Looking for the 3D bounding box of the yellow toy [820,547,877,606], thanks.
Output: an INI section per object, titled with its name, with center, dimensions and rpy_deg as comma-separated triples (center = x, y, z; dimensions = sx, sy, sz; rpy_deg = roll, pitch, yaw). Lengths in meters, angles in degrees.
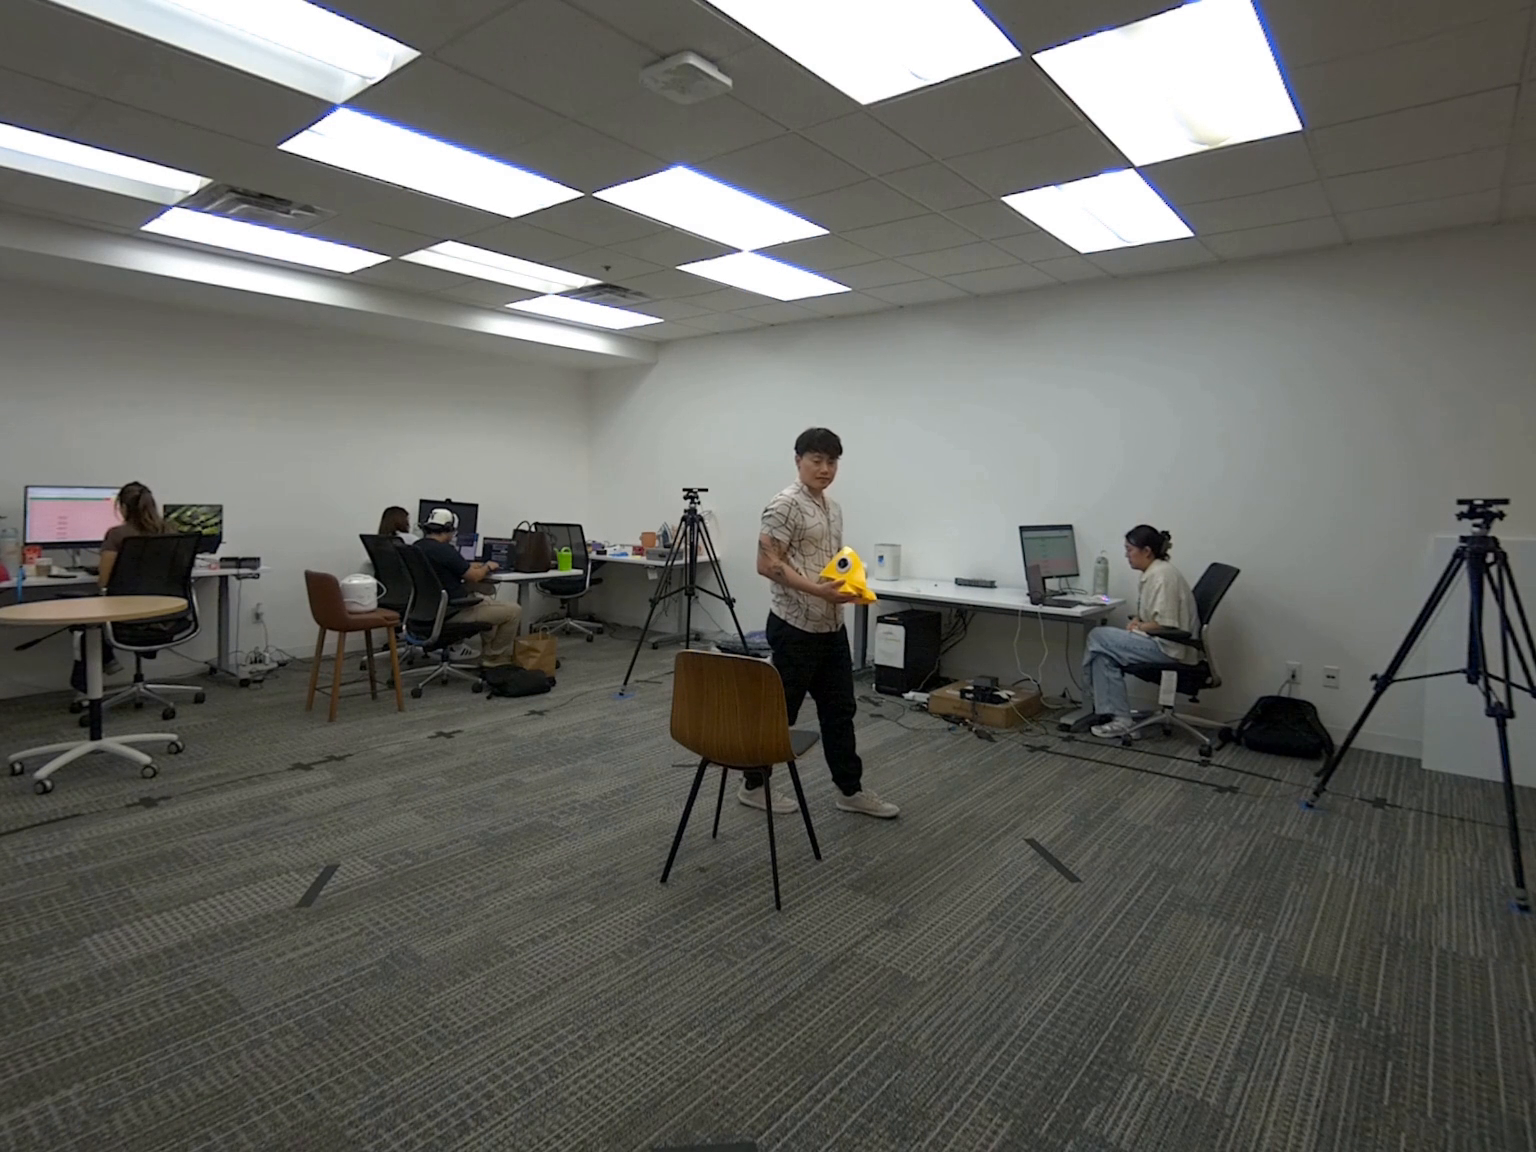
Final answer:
[yellow toy]
center = 0.347, -0.026, 3.515
dimensions = 0.198, 0.233, 0.197
rpy_deg = 18, -17, -32
